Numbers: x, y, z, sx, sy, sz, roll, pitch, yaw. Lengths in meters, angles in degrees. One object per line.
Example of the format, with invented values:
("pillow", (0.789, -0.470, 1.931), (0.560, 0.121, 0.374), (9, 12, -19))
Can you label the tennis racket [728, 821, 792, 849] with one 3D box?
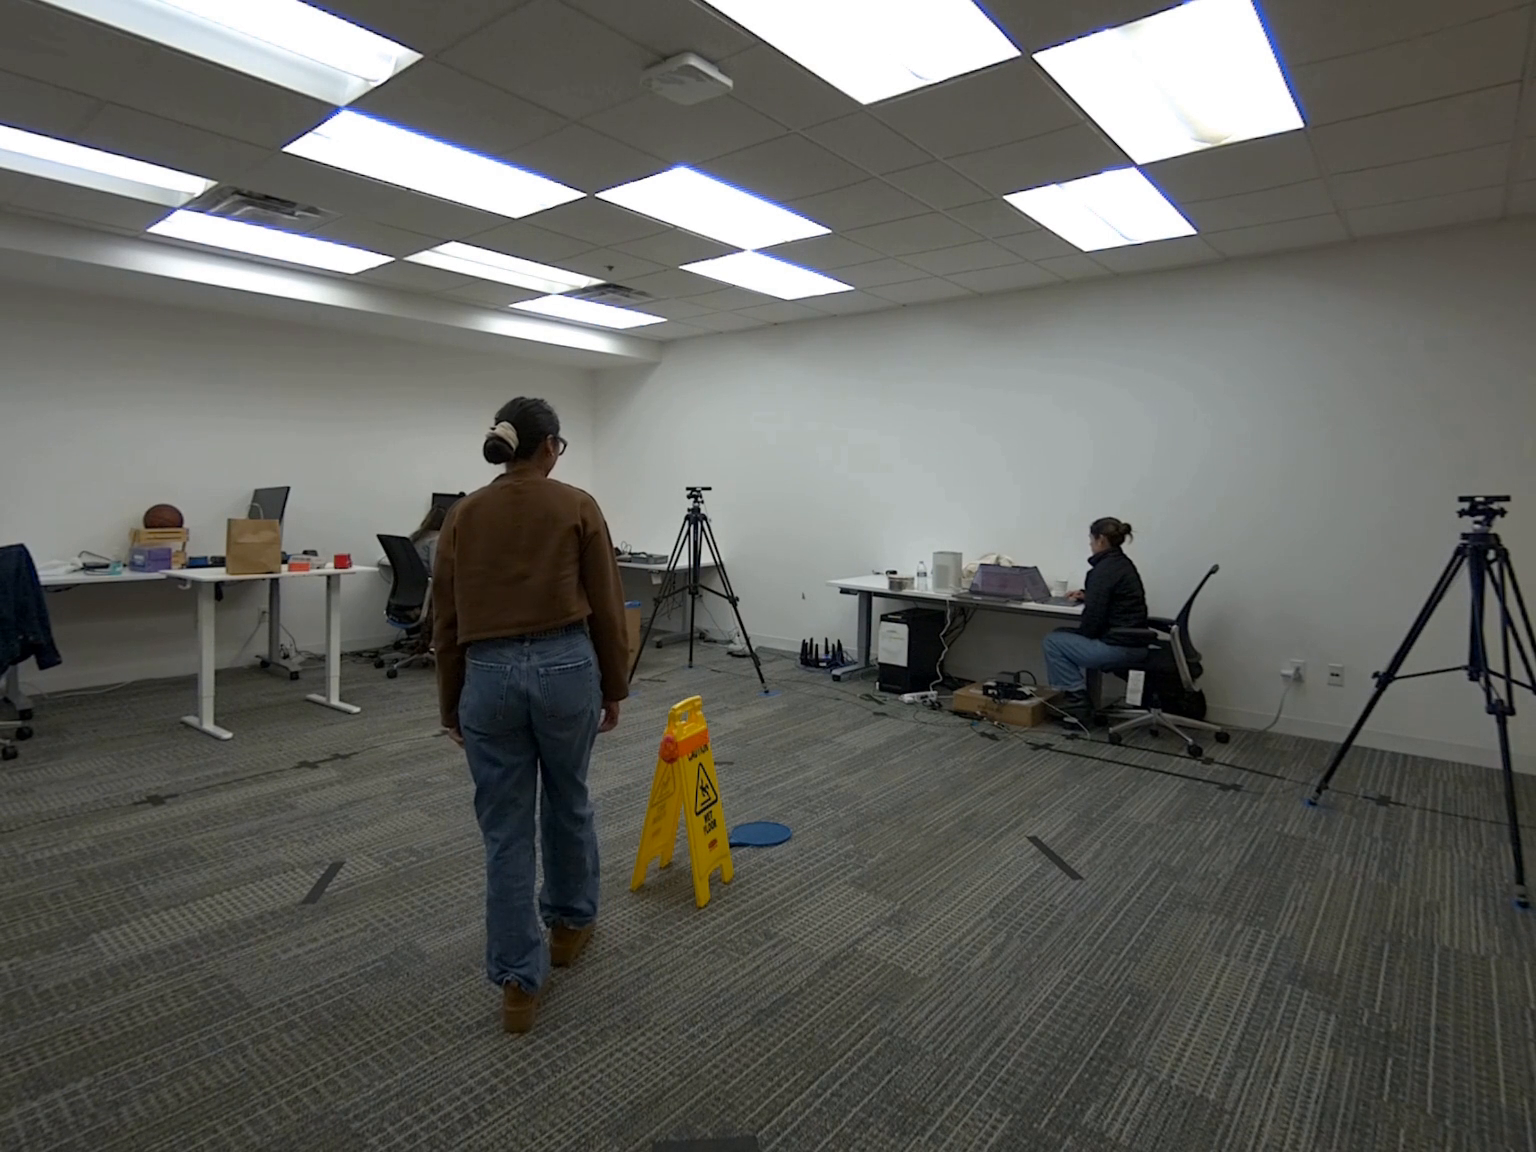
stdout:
("tennis racket", (-0.096, 1.029, 3.354), (0.419, 0.031, 0.221), (-3, 7, -44))
